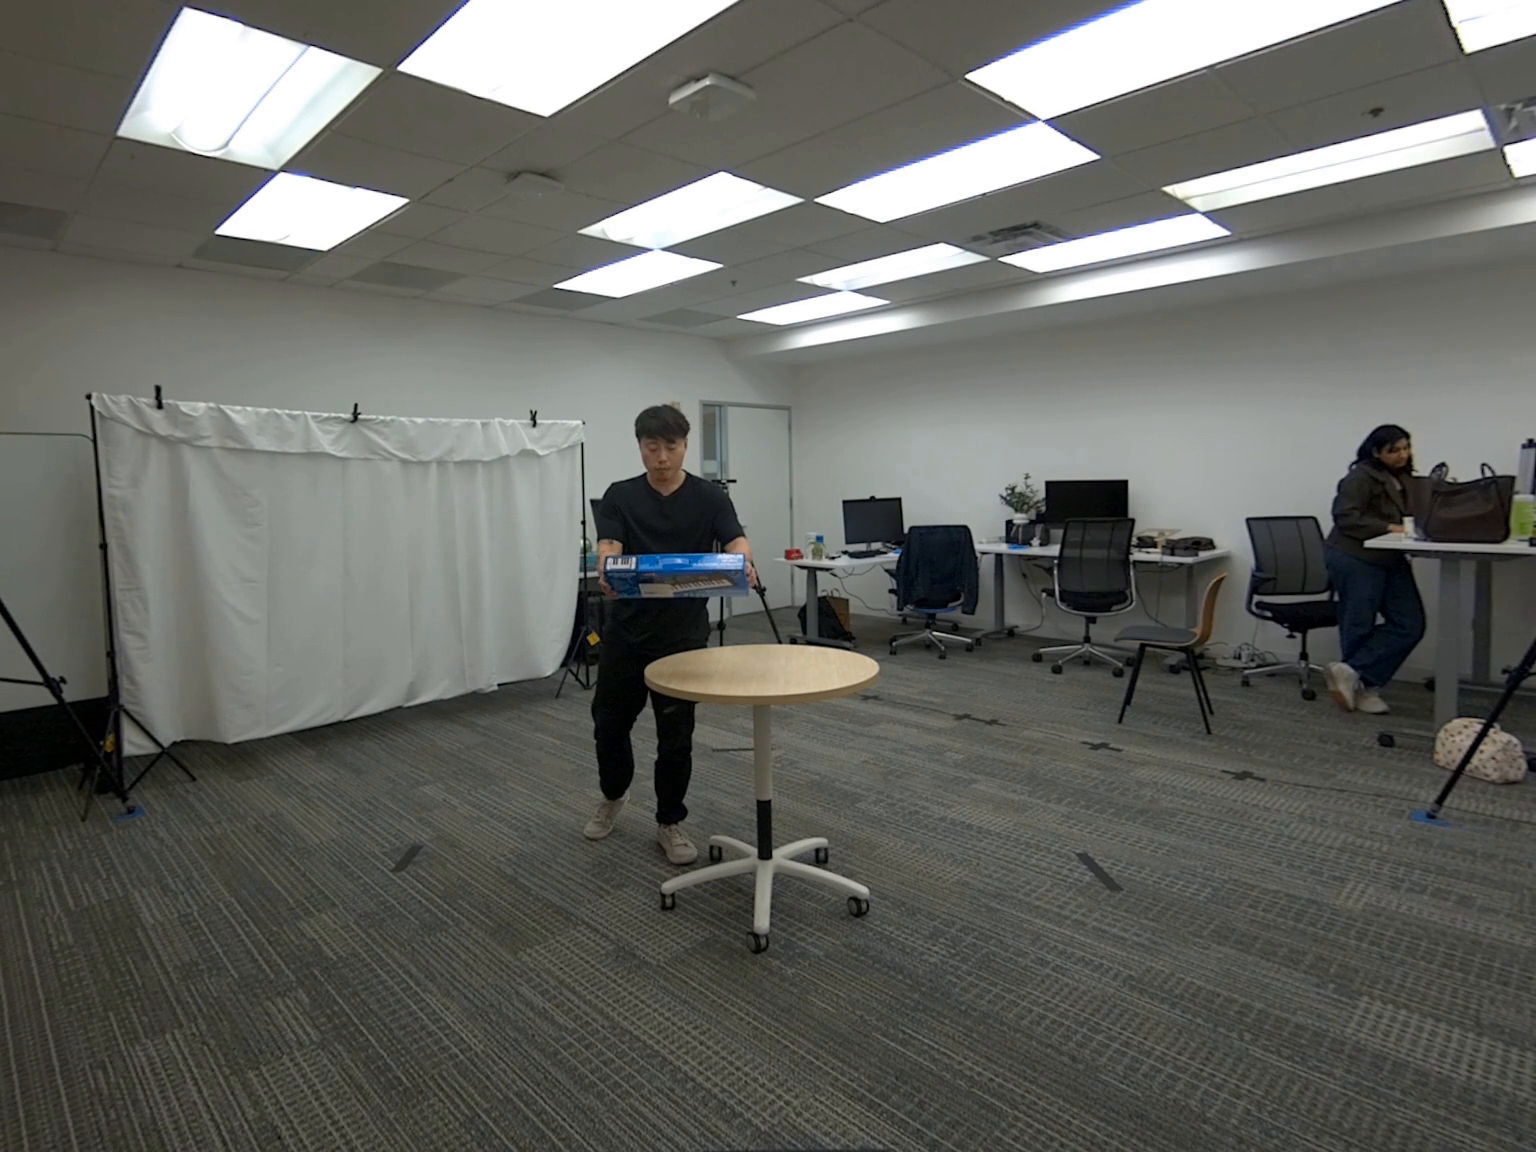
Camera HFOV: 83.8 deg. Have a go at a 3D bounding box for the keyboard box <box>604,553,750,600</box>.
[{"bbox_3d":[-0.290,0.006,2.667,0.440,0.060,0.171,-1,-34,6],"label":"keyboard box"}]
